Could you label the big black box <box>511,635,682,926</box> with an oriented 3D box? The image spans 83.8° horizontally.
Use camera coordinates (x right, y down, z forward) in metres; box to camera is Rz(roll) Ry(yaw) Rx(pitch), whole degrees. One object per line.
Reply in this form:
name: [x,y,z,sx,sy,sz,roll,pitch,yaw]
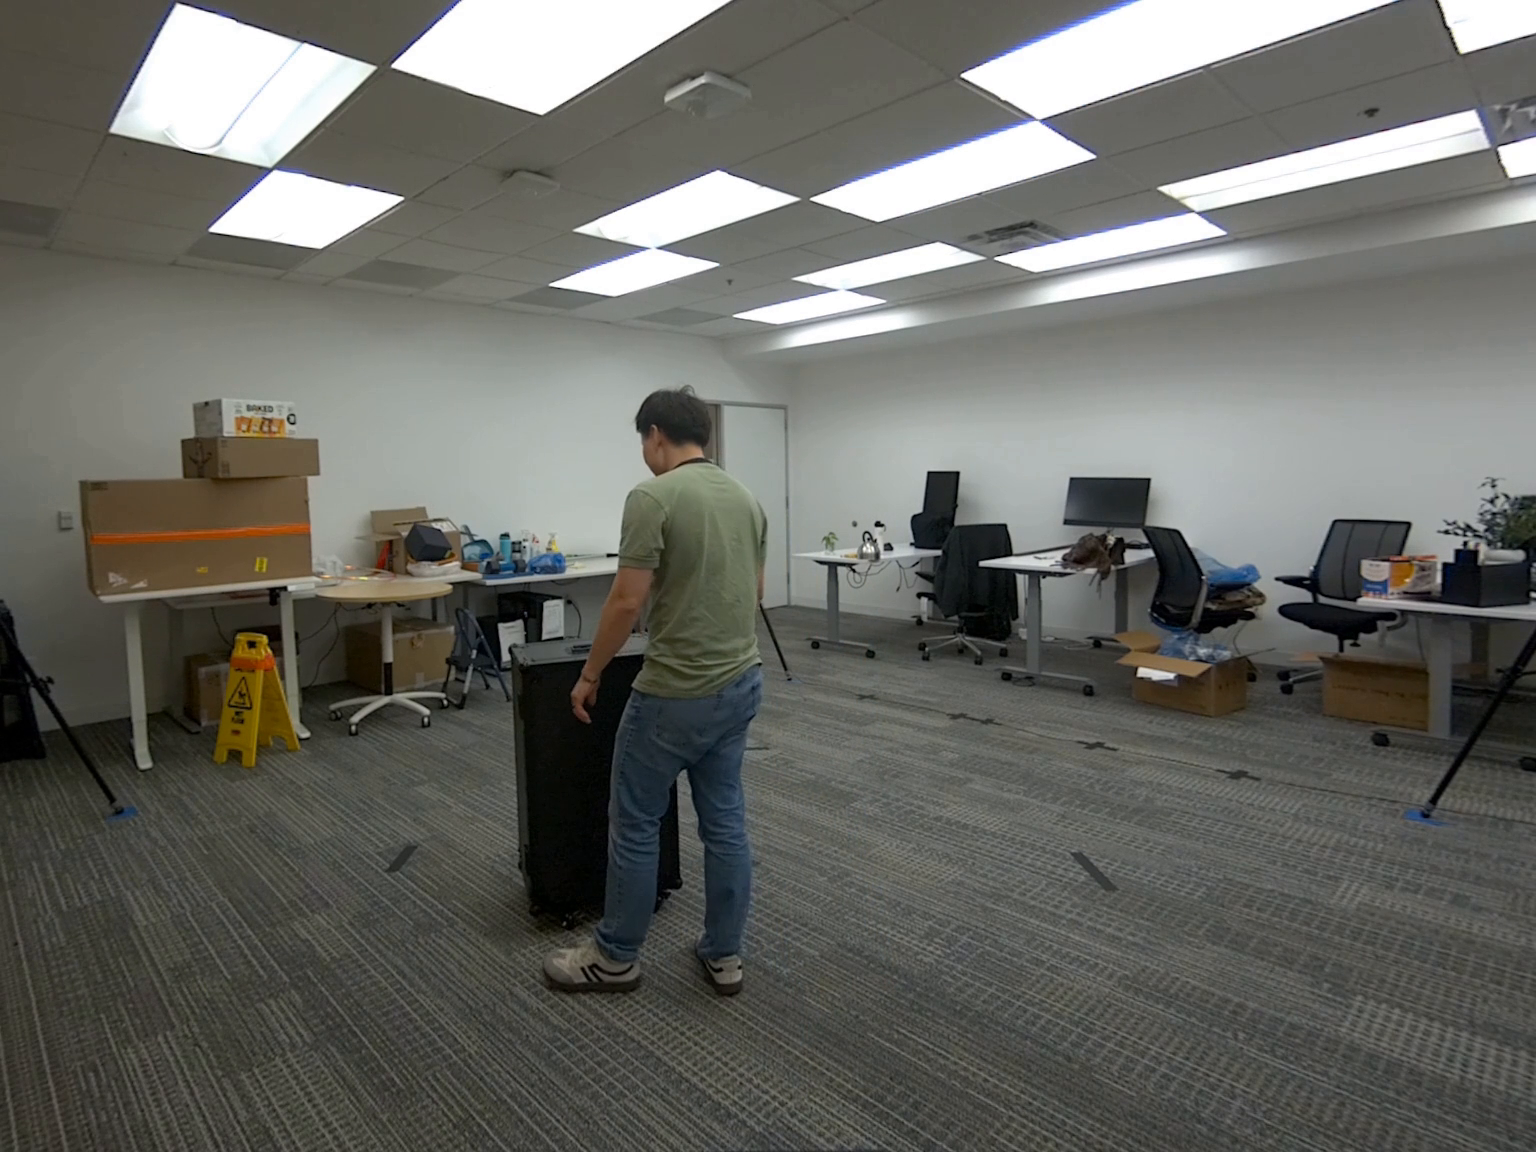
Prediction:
big black box: [-0.589,0.657,2.846,0.512,0.858,0.405,-4,4,-21]
